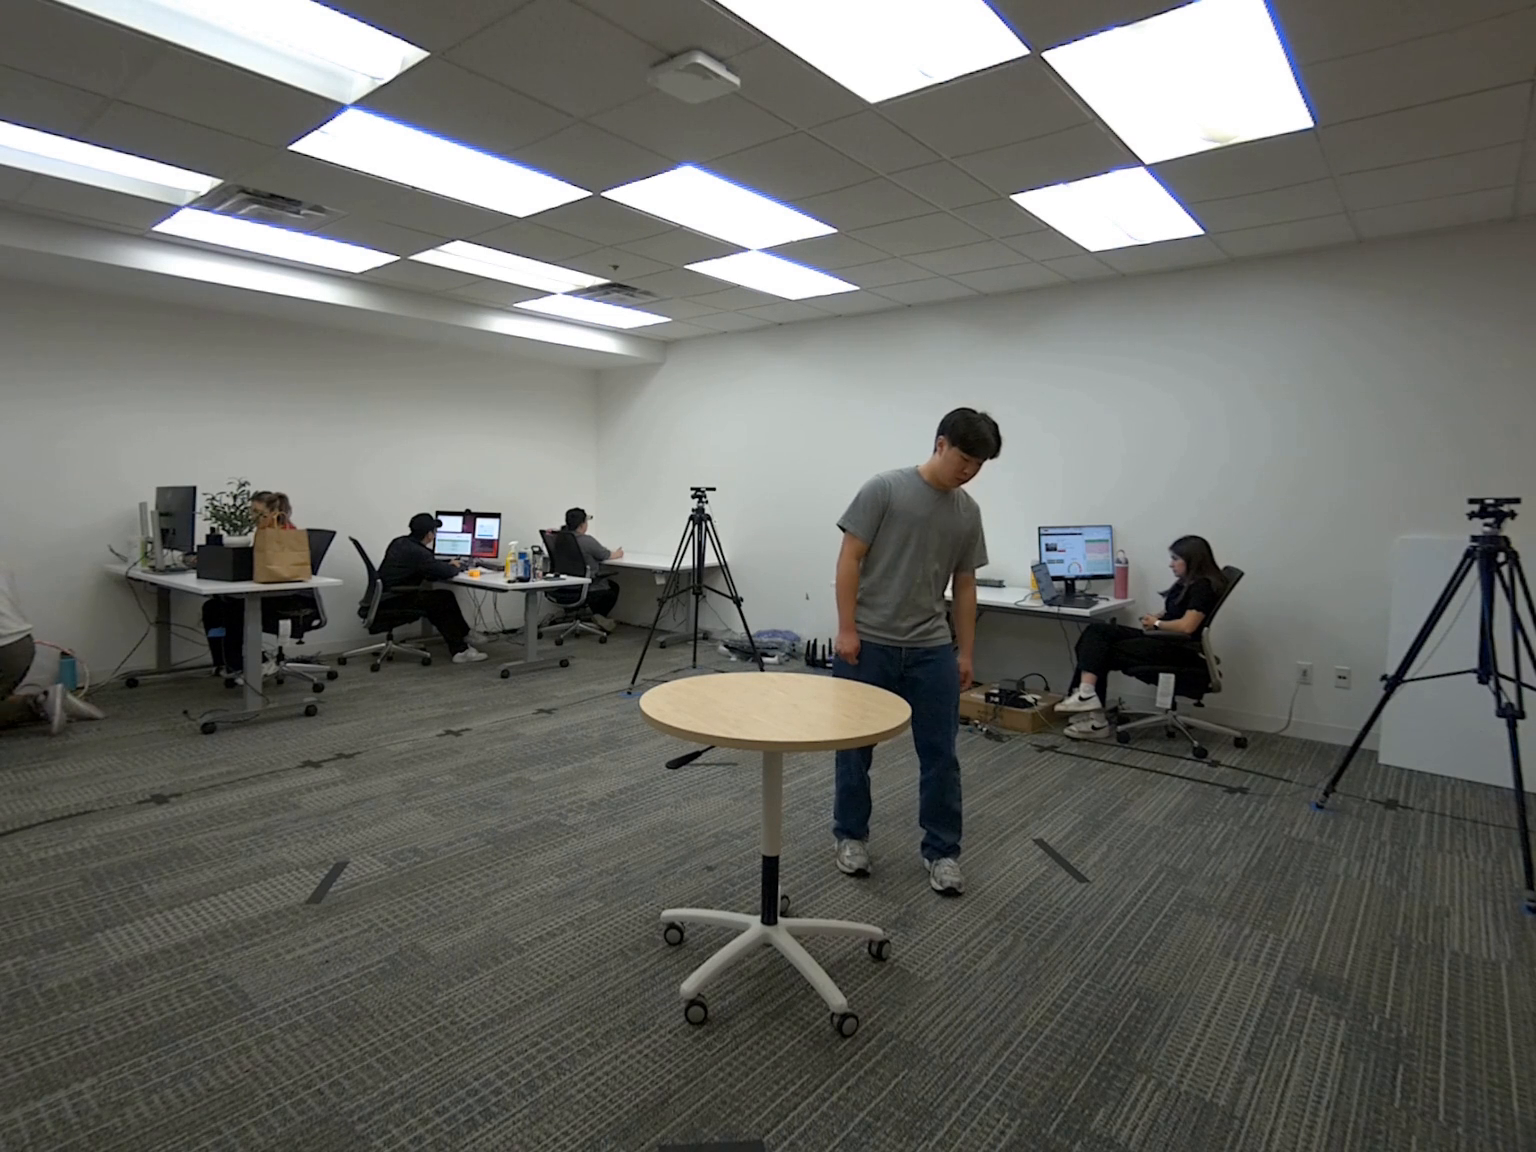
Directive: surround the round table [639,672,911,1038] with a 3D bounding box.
[{"bbox_3d":[-0.002,0.748,2.446,0.763,0.791,0.768,1,5,-2],"label":"round table"}]
